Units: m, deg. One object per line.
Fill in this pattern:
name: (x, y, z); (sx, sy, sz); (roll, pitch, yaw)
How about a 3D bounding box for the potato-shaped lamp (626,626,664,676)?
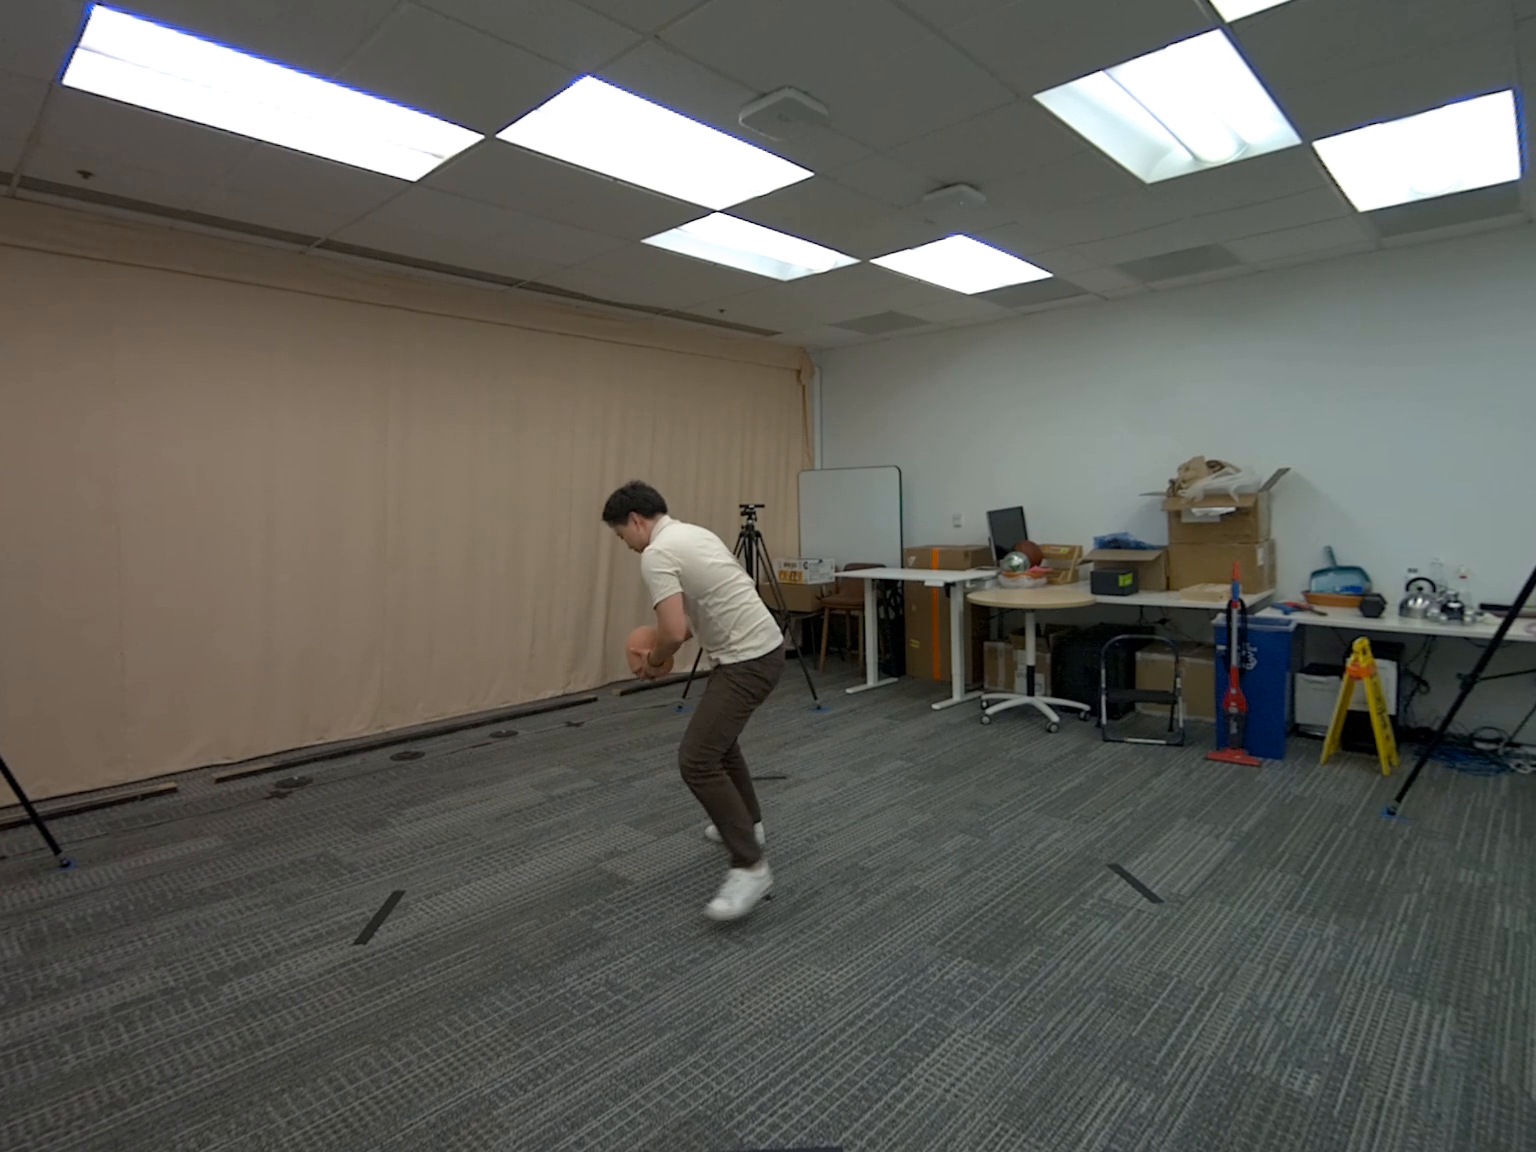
potato-shaped lamp: (-0.449, 0.306, 3.215); (0.173, 0.194, 0.166); (-9, 29, 10)
